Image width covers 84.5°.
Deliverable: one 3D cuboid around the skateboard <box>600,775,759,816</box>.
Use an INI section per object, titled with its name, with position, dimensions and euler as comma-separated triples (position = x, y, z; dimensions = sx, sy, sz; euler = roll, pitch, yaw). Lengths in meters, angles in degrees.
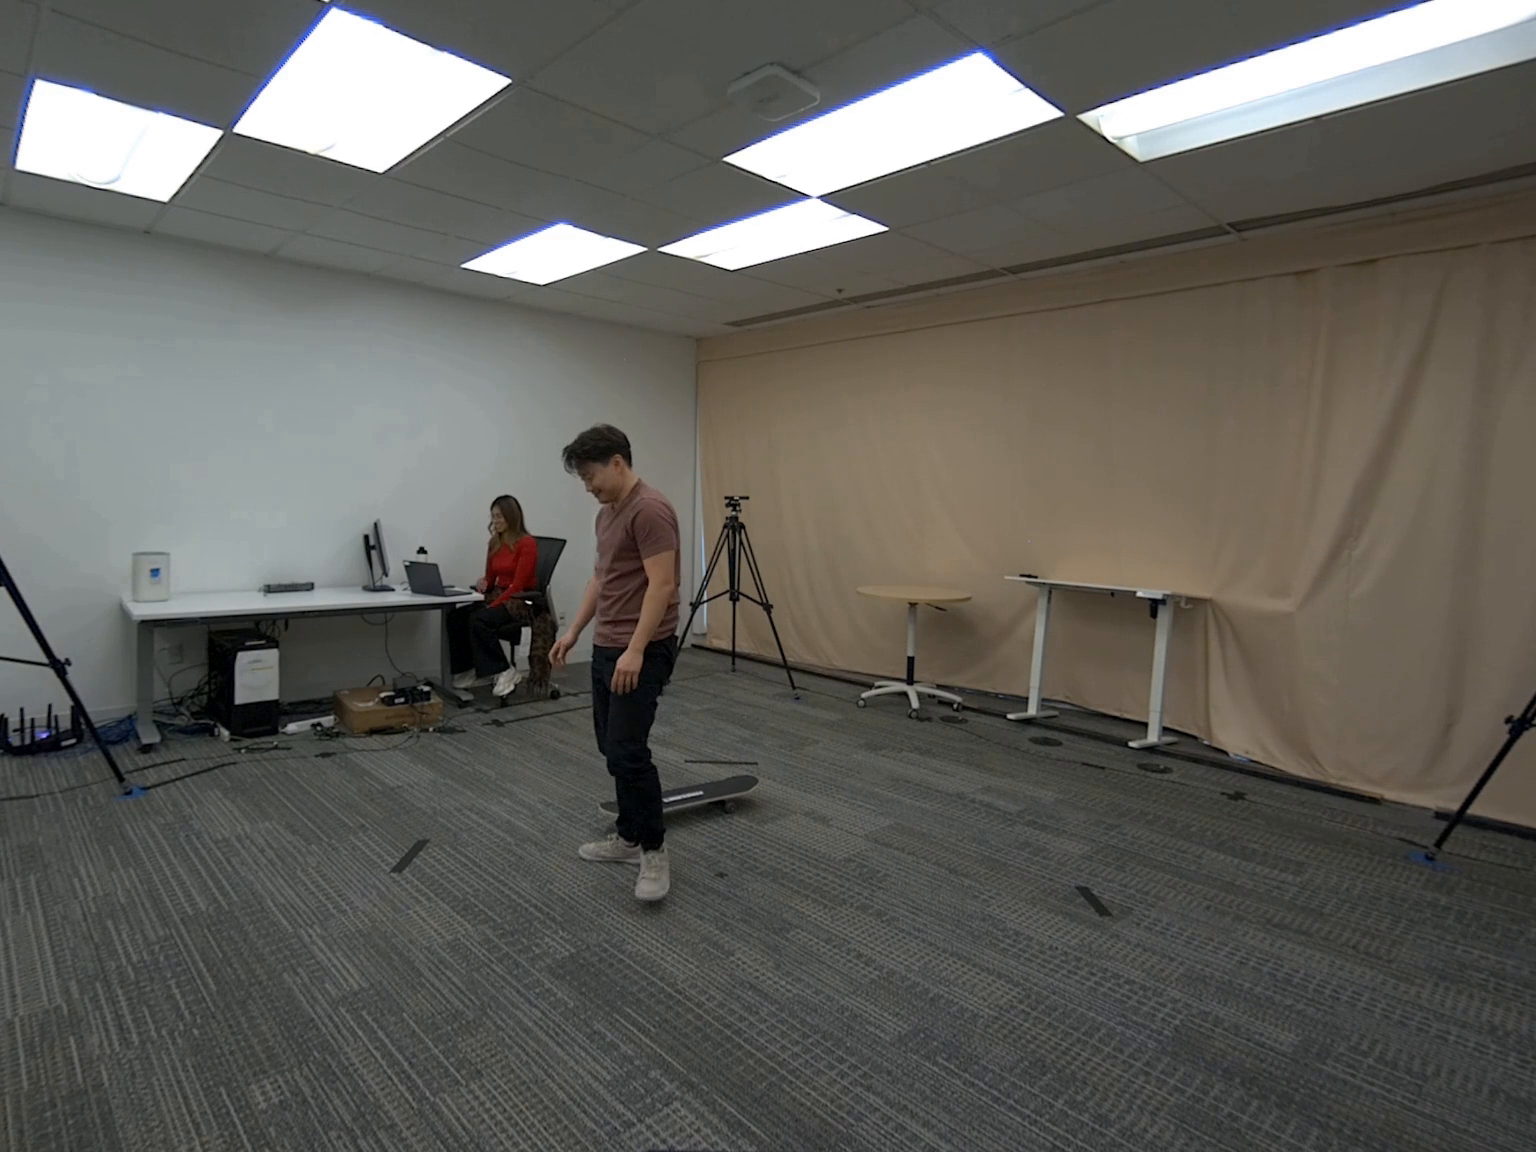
[skateboard]
position = -0.385, 0.993, 3.670
dimensions = 0.768, 0.110, 0.198
euler = -2, 6, -37
